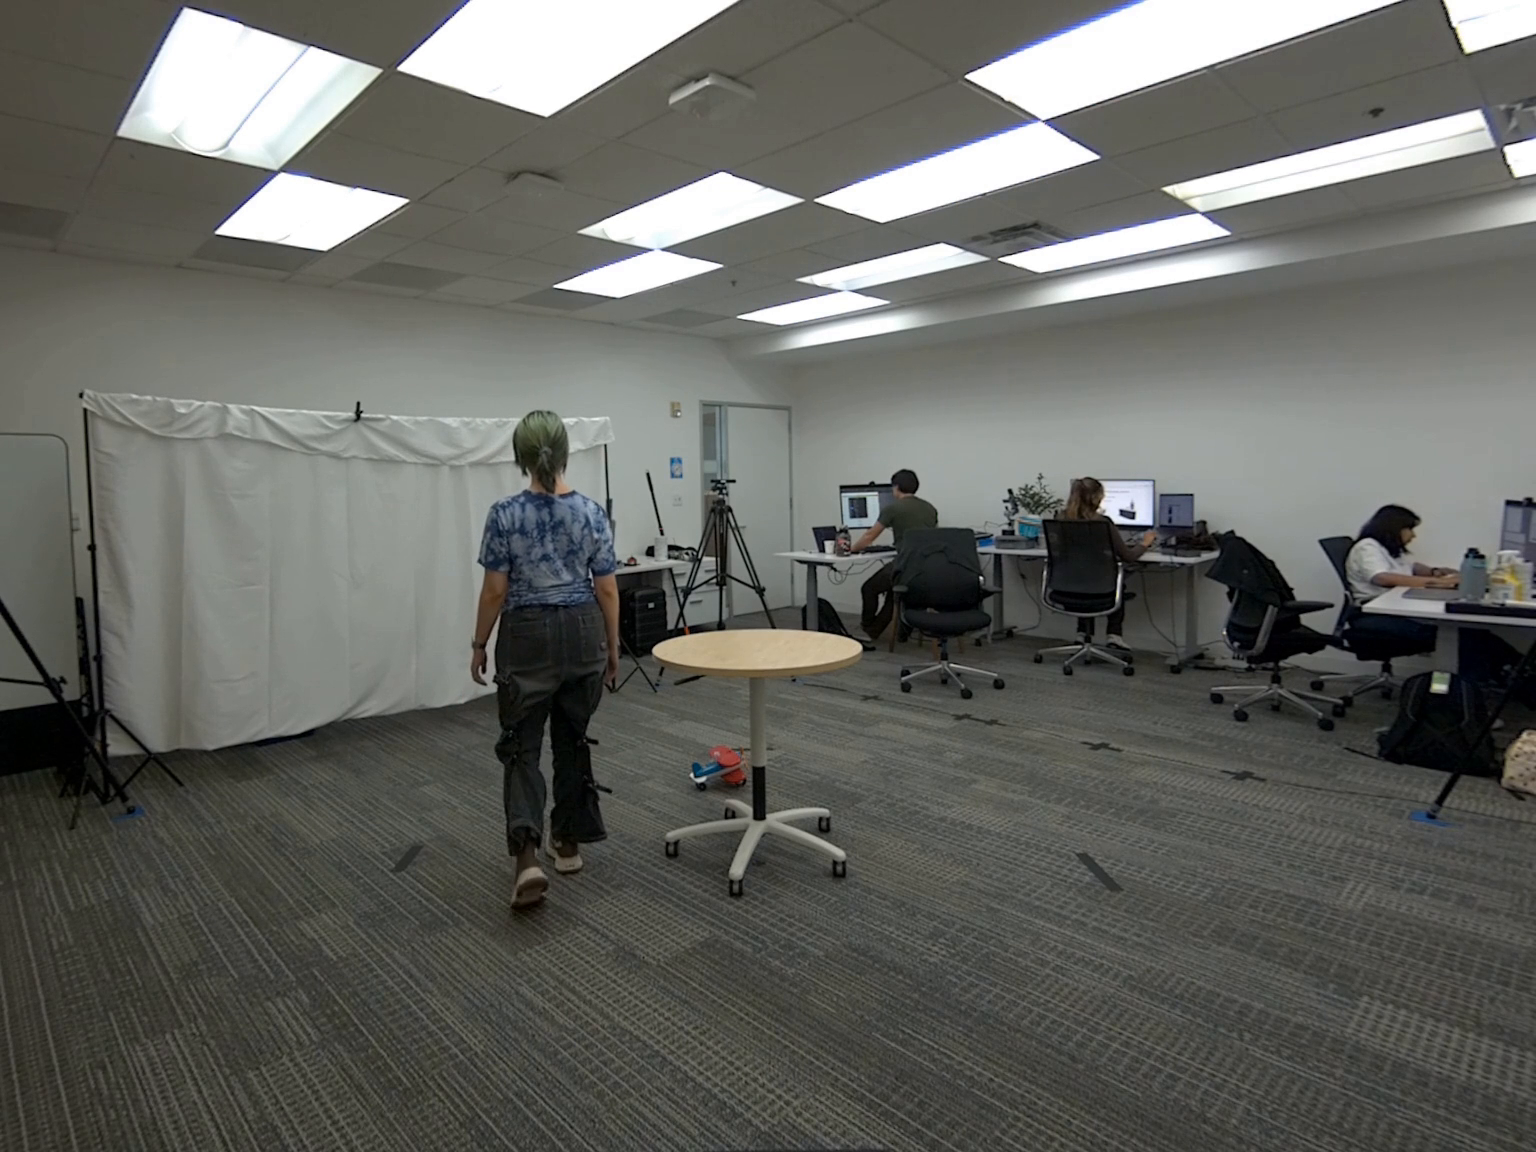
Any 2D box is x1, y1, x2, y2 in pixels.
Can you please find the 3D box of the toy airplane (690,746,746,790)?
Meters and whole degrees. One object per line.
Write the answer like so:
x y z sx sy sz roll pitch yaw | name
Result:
-0.212 0.889 3.895 0.258 0.156 0.252 2 5 37 | toy airplane
